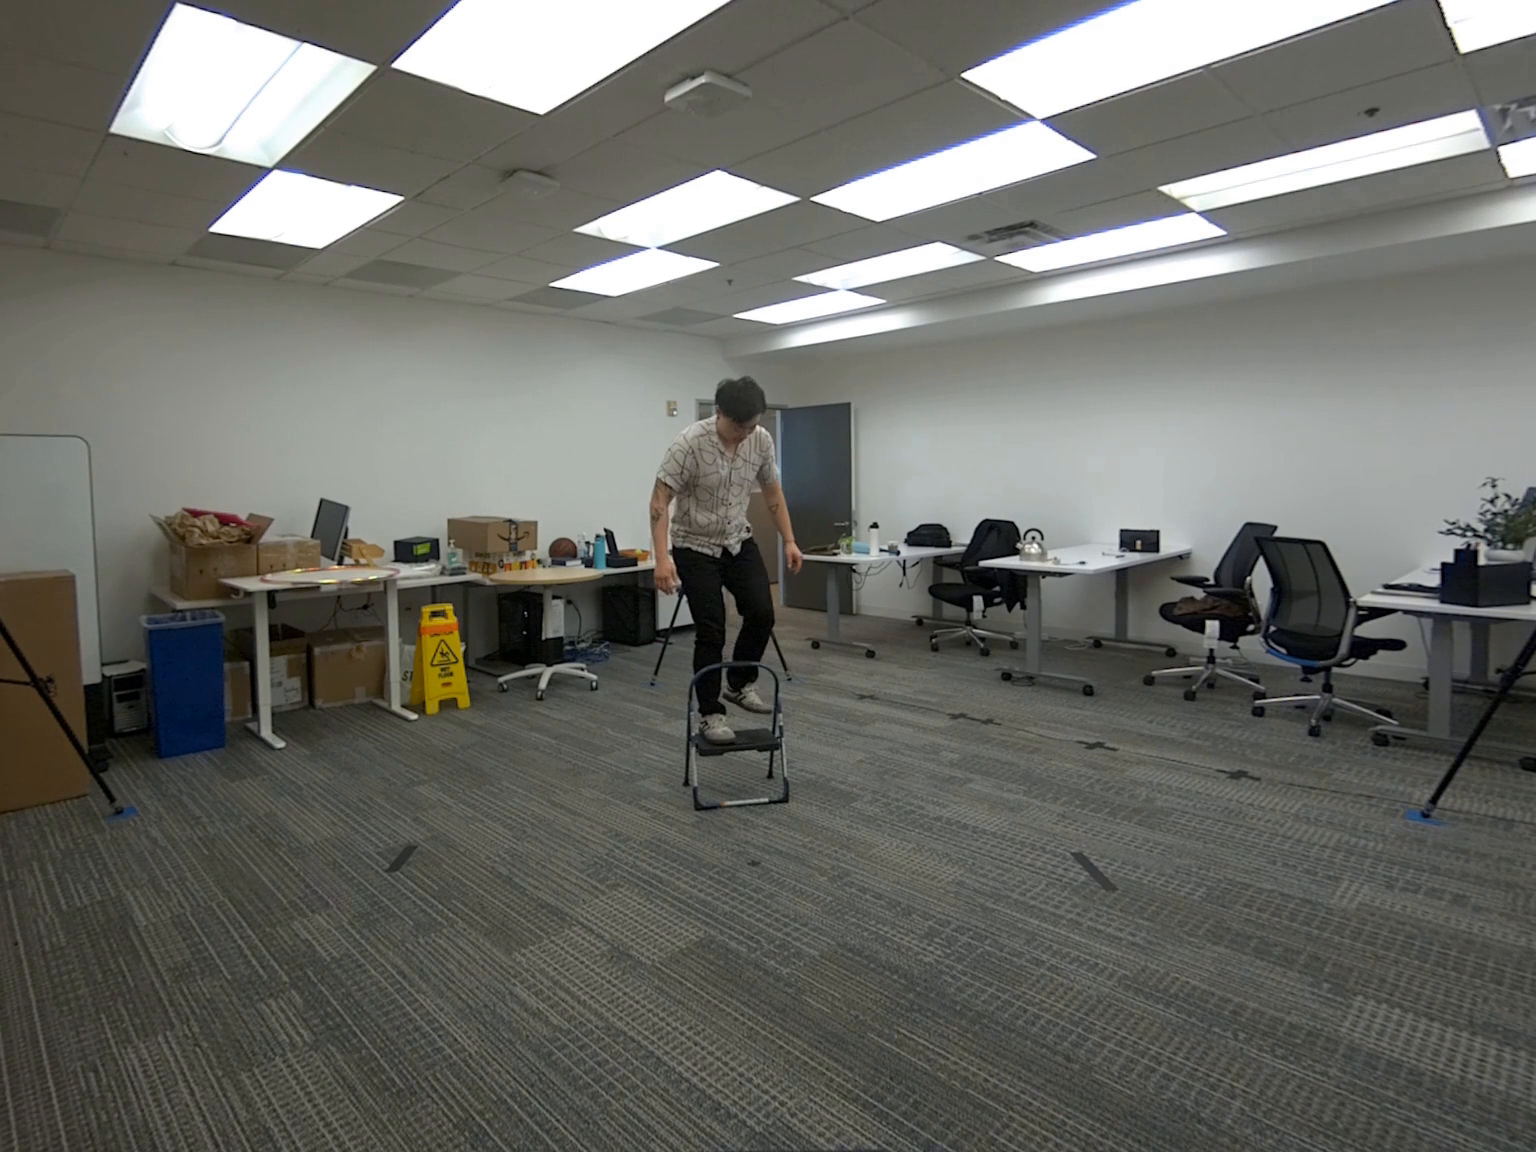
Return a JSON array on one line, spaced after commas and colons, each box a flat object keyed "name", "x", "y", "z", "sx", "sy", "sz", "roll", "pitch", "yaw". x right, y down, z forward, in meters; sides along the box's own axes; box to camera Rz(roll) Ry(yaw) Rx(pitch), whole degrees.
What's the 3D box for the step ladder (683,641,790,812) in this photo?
[{"name": "step ladder", "x": -0.153, "y": 0.669, "z": 3.794, "sx": 0.426, "sy": 0.604, "sz": 0.354, "roll": -2, "pitch": 4, "yaw": -12}]
